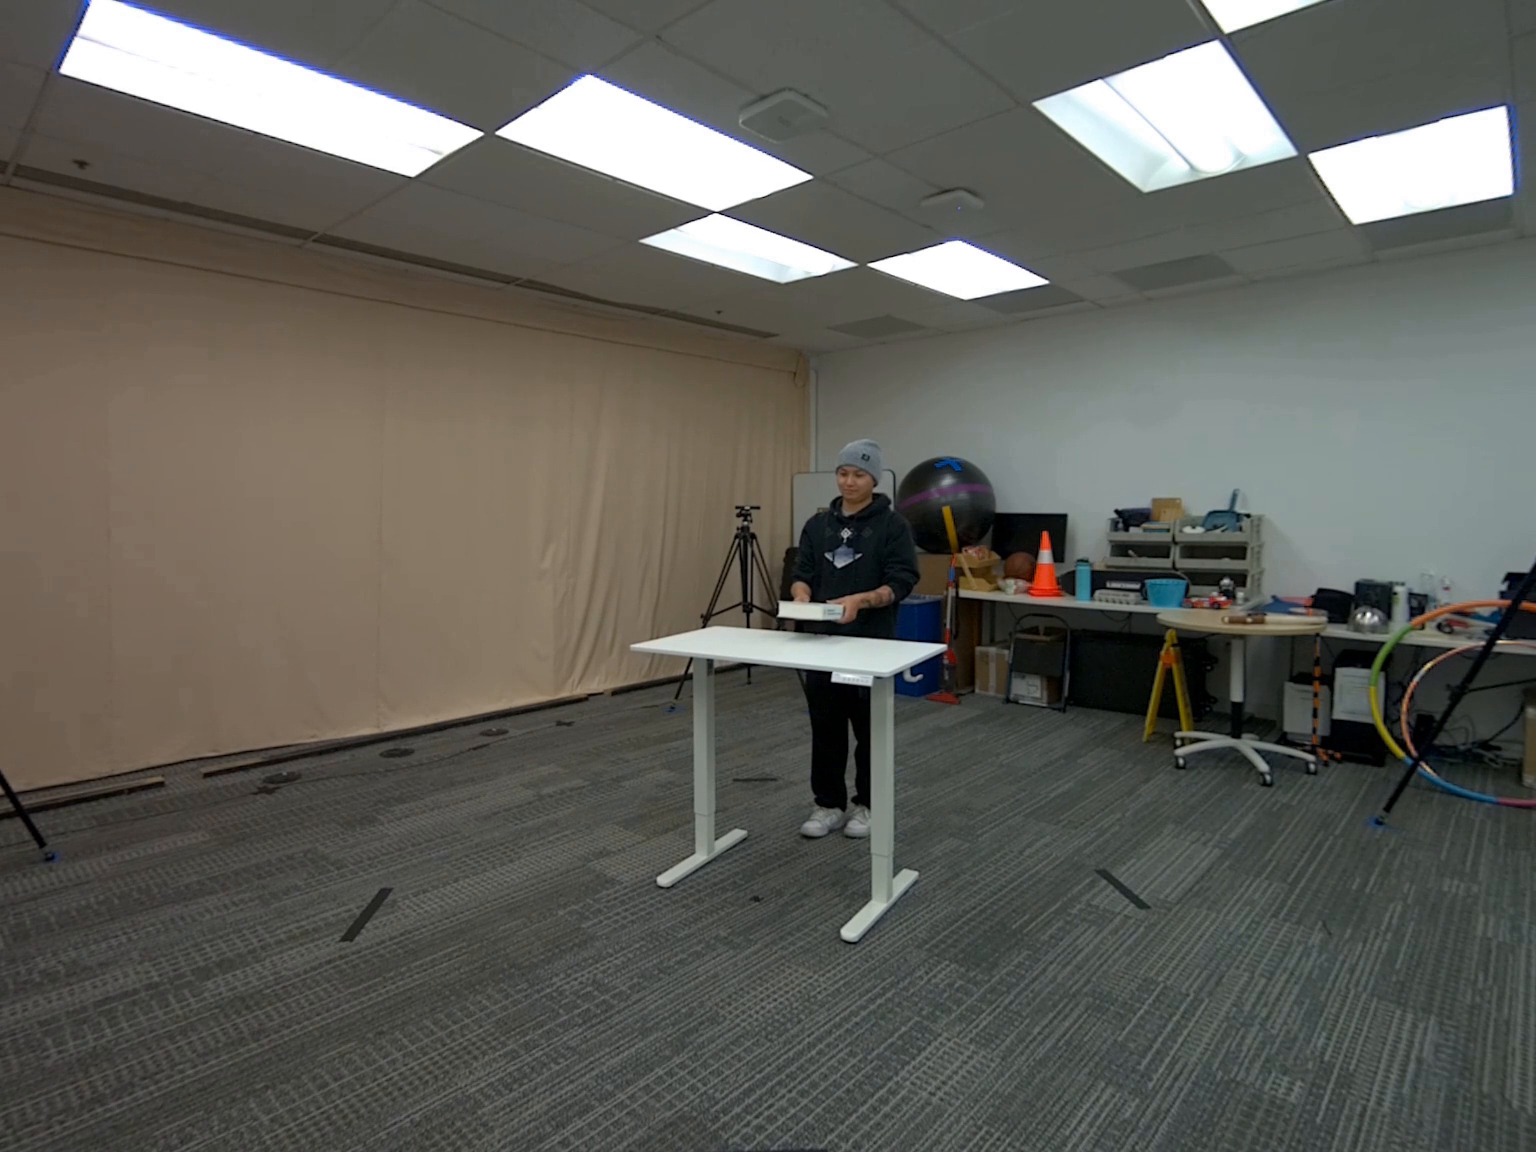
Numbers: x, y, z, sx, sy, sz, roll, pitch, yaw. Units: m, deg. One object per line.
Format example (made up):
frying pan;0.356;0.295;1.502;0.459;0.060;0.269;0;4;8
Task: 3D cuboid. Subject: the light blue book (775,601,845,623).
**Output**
light blue book;0.163;0.138;3.273;0.196;0.059;0.254;4;-2;24
